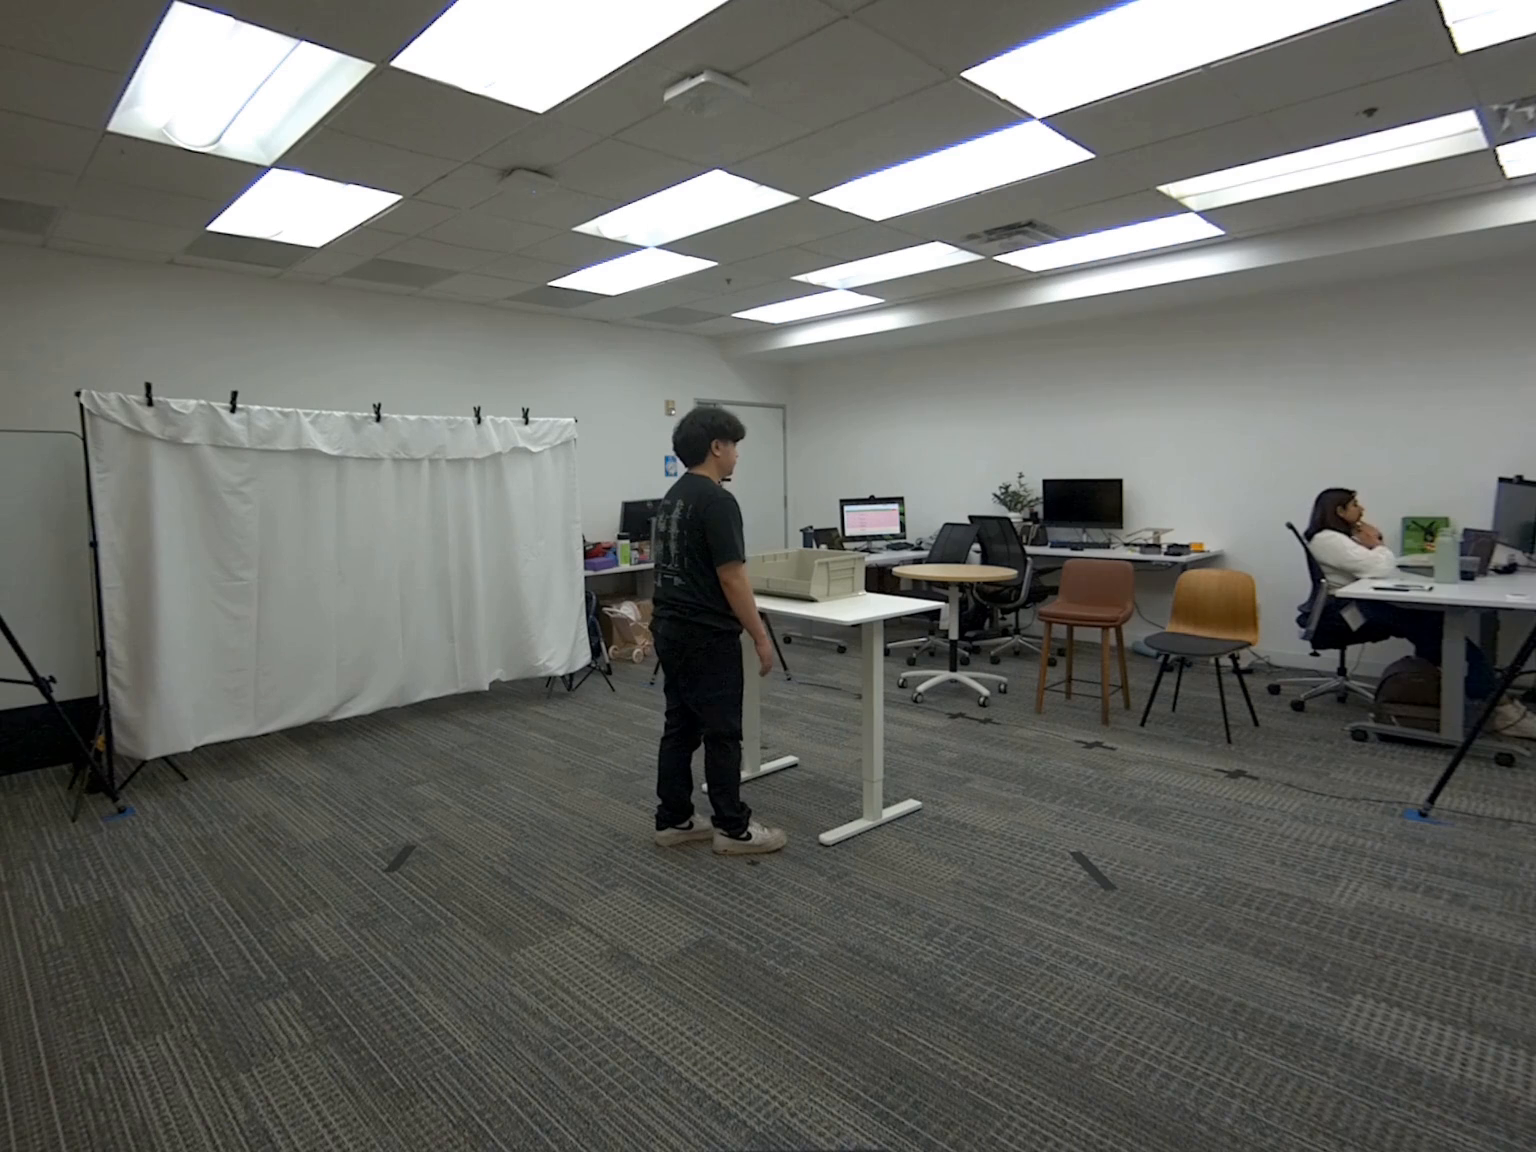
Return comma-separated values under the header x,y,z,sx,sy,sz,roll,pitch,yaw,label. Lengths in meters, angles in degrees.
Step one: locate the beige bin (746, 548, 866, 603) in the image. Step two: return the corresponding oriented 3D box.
x,y,z,sx,sy,sz,roll,pitch,yaw,label
0.164,-0.006,3.749,0.367,0.188,0.435,-6,8,-43,beige bin
